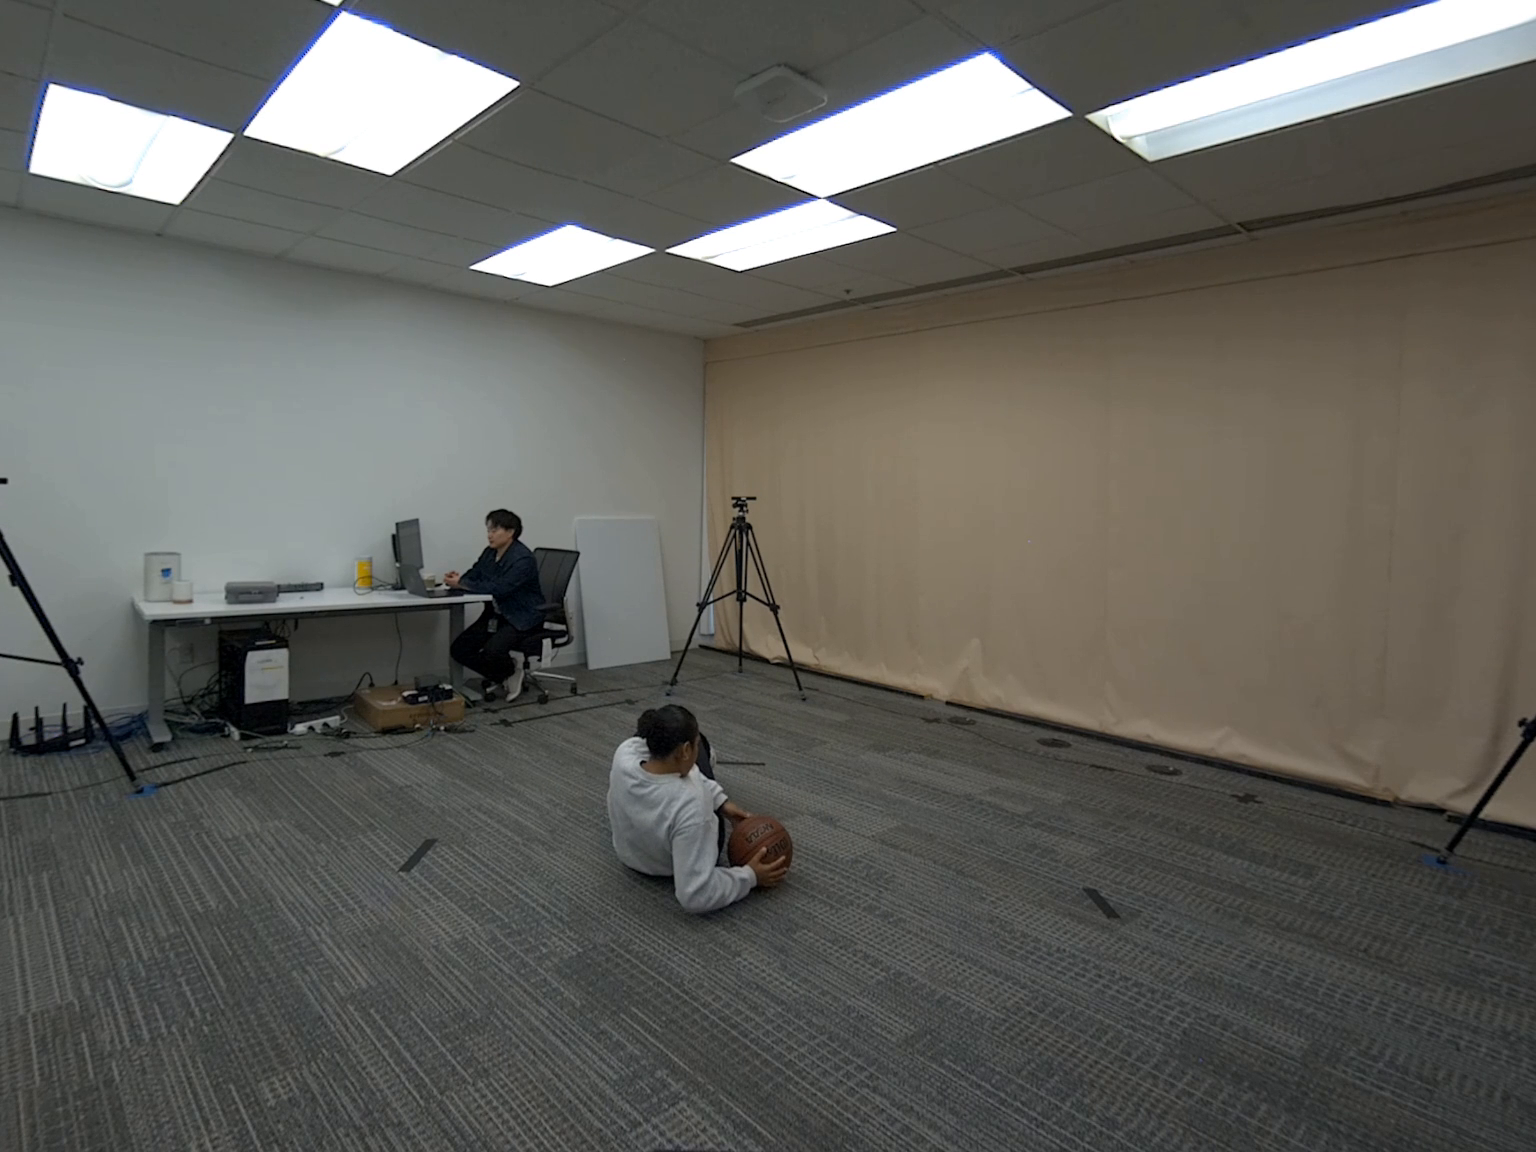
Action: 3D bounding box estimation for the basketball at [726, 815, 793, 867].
[{"bbox_3d":[-0.037,0.990,3.055,0.236,0.235,0.237,1,4,-1],"label":"basketball"}]
